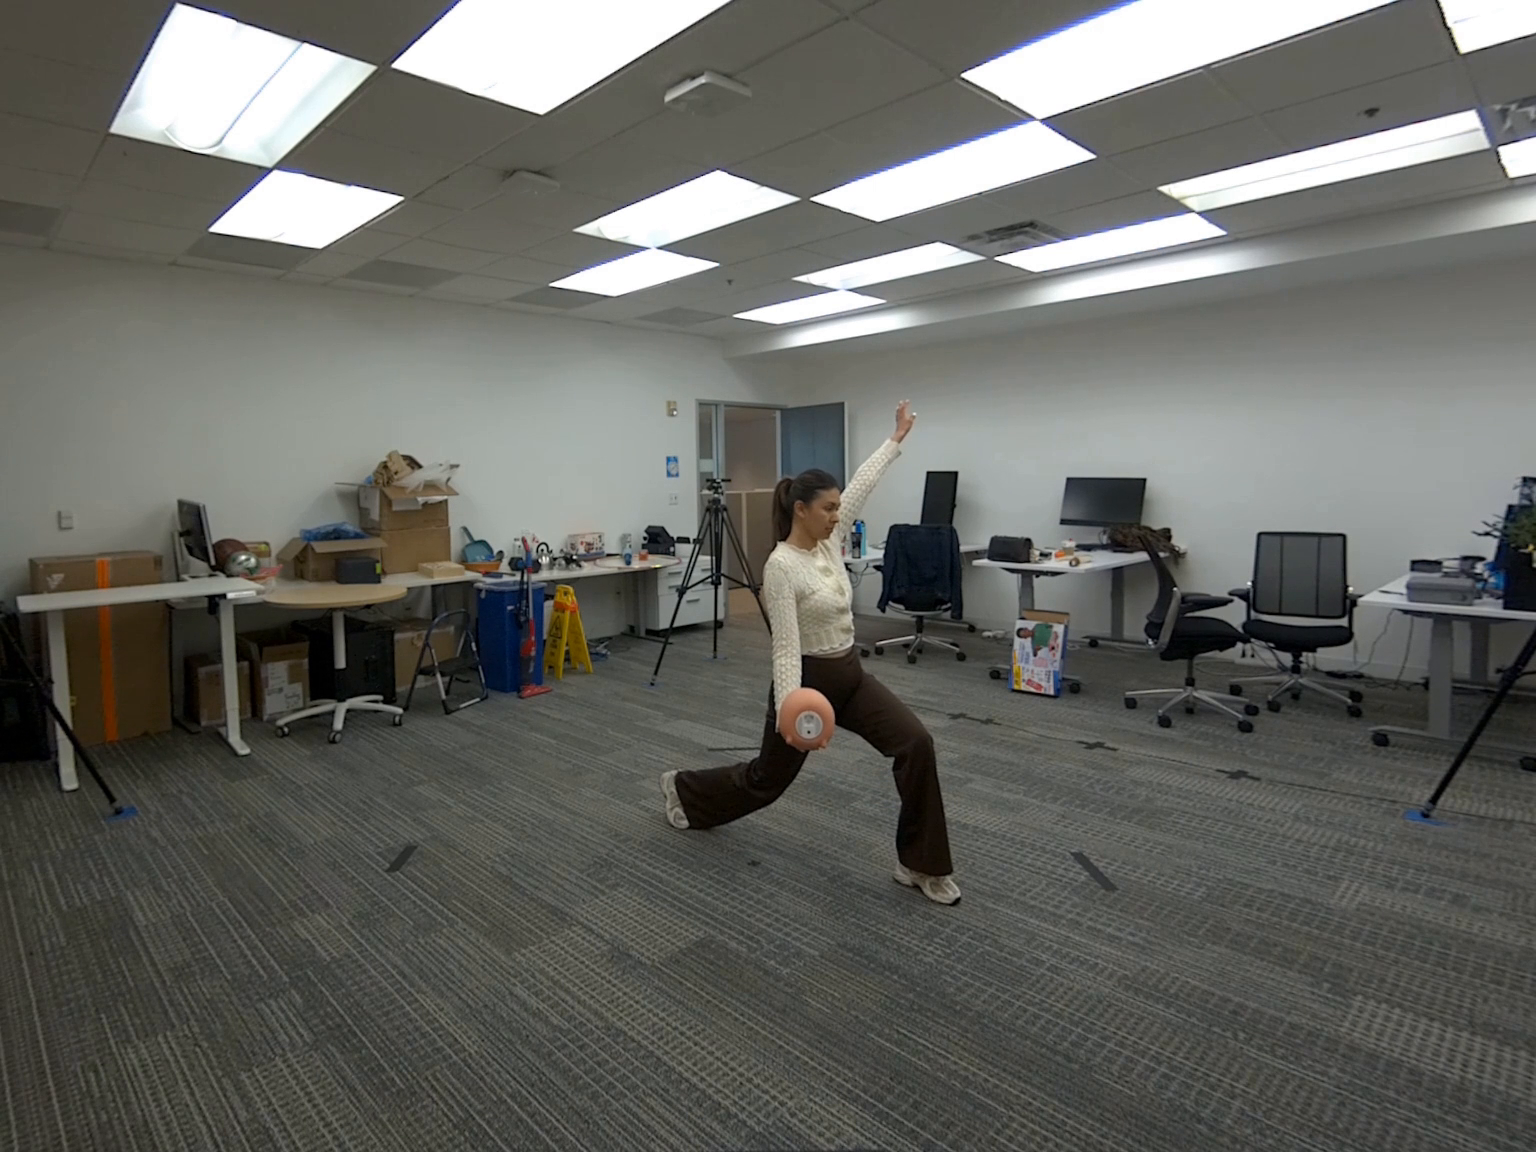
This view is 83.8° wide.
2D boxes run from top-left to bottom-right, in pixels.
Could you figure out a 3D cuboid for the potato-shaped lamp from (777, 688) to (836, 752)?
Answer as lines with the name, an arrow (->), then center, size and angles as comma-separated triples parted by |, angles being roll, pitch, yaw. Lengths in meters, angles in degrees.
potato-shaped lamp -> 0.105, 0.424, 2.551 | 0.164, 0.172, 0.198 | 10, -3, -4
